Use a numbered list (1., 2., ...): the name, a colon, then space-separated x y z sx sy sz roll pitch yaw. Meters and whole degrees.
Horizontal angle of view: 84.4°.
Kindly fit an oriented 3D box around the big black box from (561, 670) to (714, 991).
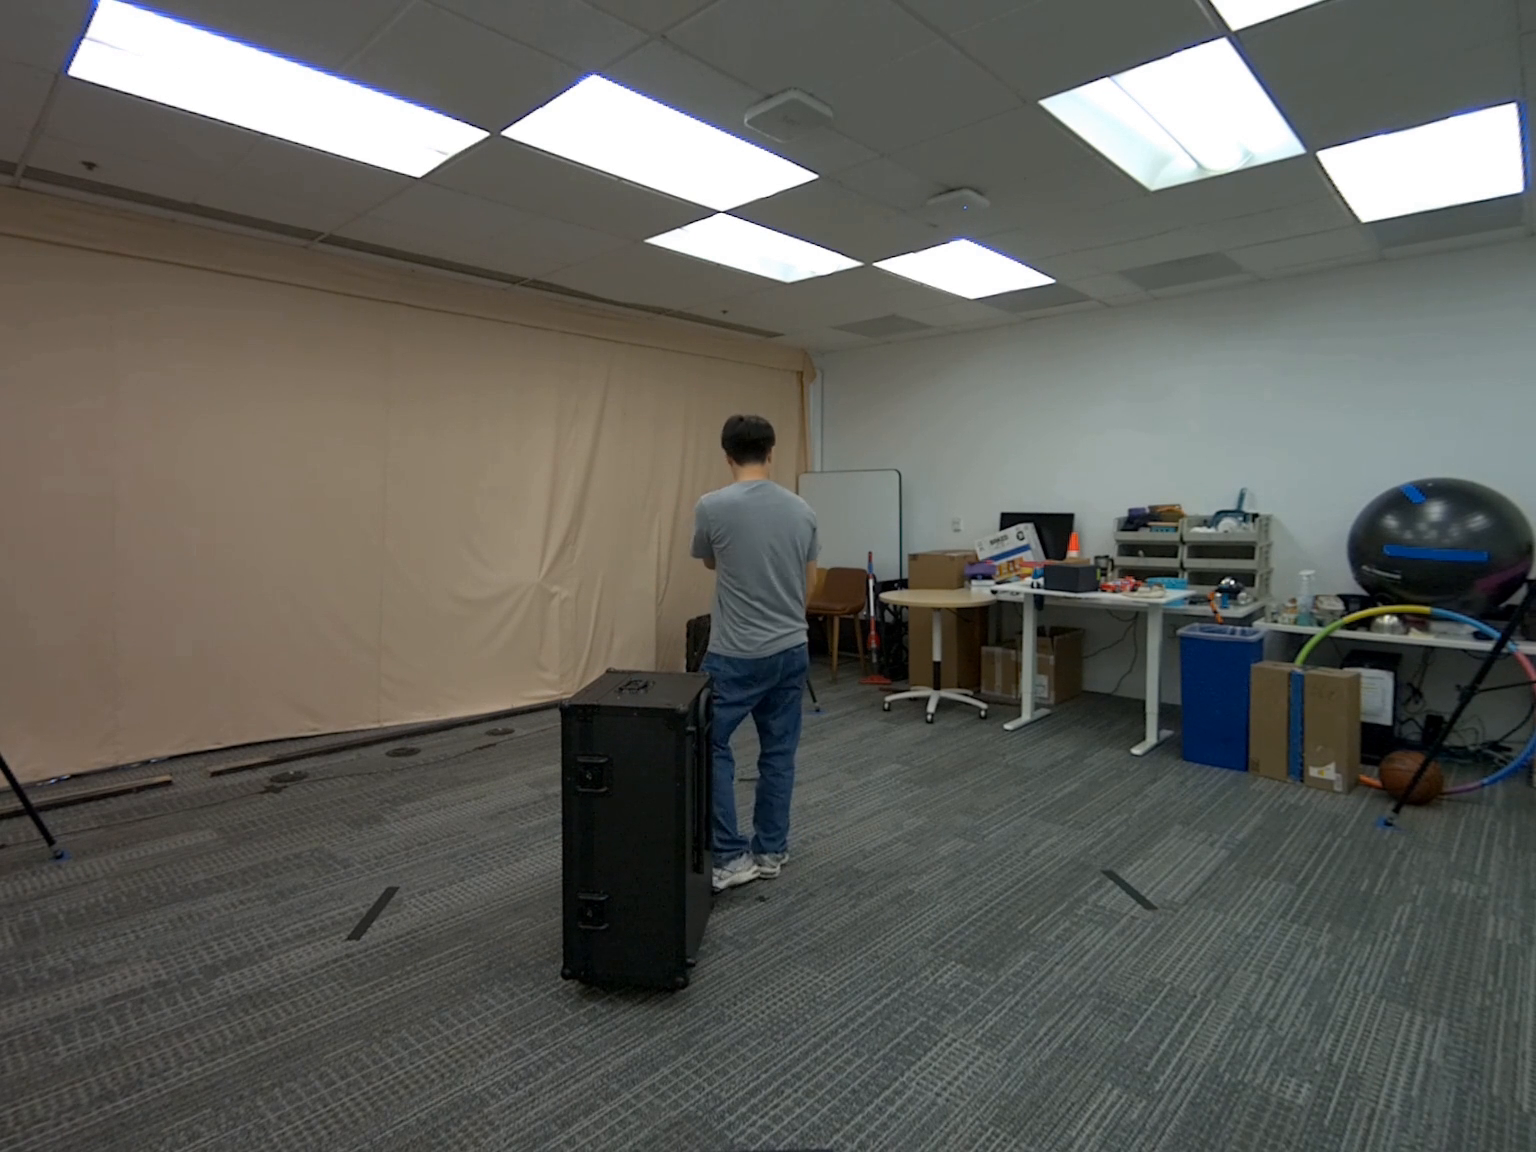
1. big black box: -0.374 0.762 2.544 0.400 0.860 0.517 1 3 8
